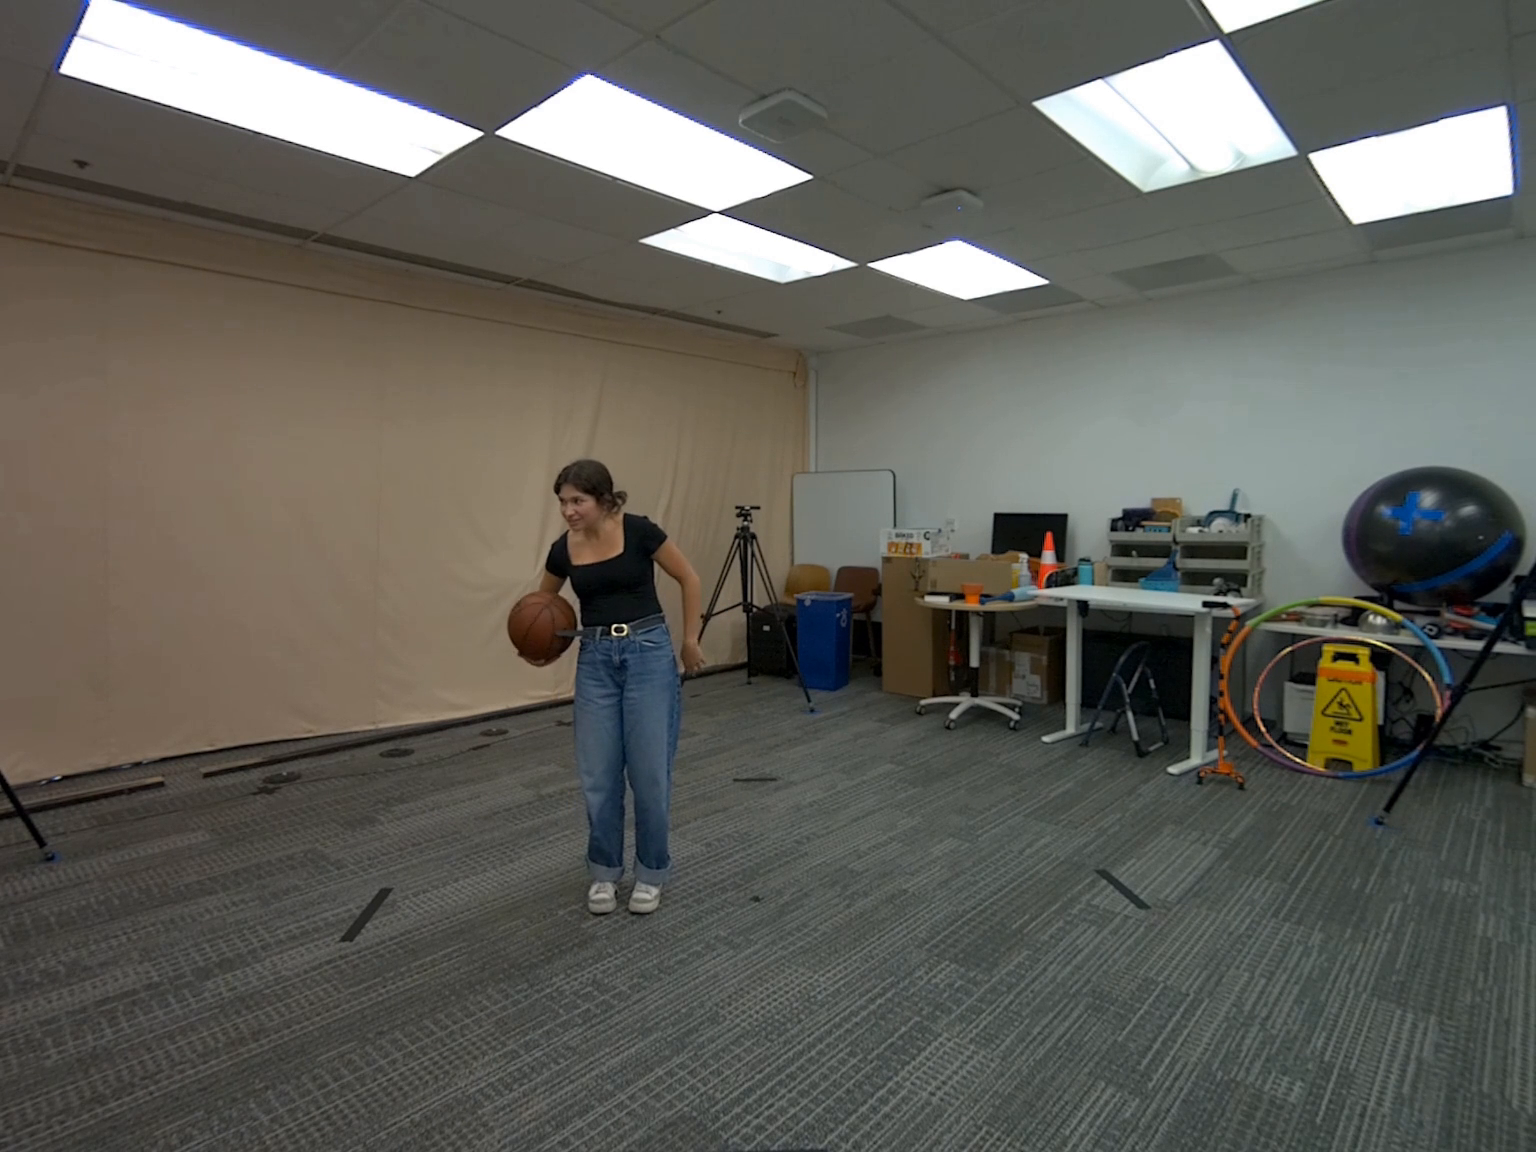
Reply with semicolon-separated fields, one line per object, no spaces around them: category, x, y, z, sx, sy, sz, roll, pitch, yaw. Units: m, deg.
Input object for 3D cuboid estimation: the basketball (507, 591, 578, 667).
basketball;-0.780;0.173;2.931;0.236;0.235;0.237;0;4;-2
